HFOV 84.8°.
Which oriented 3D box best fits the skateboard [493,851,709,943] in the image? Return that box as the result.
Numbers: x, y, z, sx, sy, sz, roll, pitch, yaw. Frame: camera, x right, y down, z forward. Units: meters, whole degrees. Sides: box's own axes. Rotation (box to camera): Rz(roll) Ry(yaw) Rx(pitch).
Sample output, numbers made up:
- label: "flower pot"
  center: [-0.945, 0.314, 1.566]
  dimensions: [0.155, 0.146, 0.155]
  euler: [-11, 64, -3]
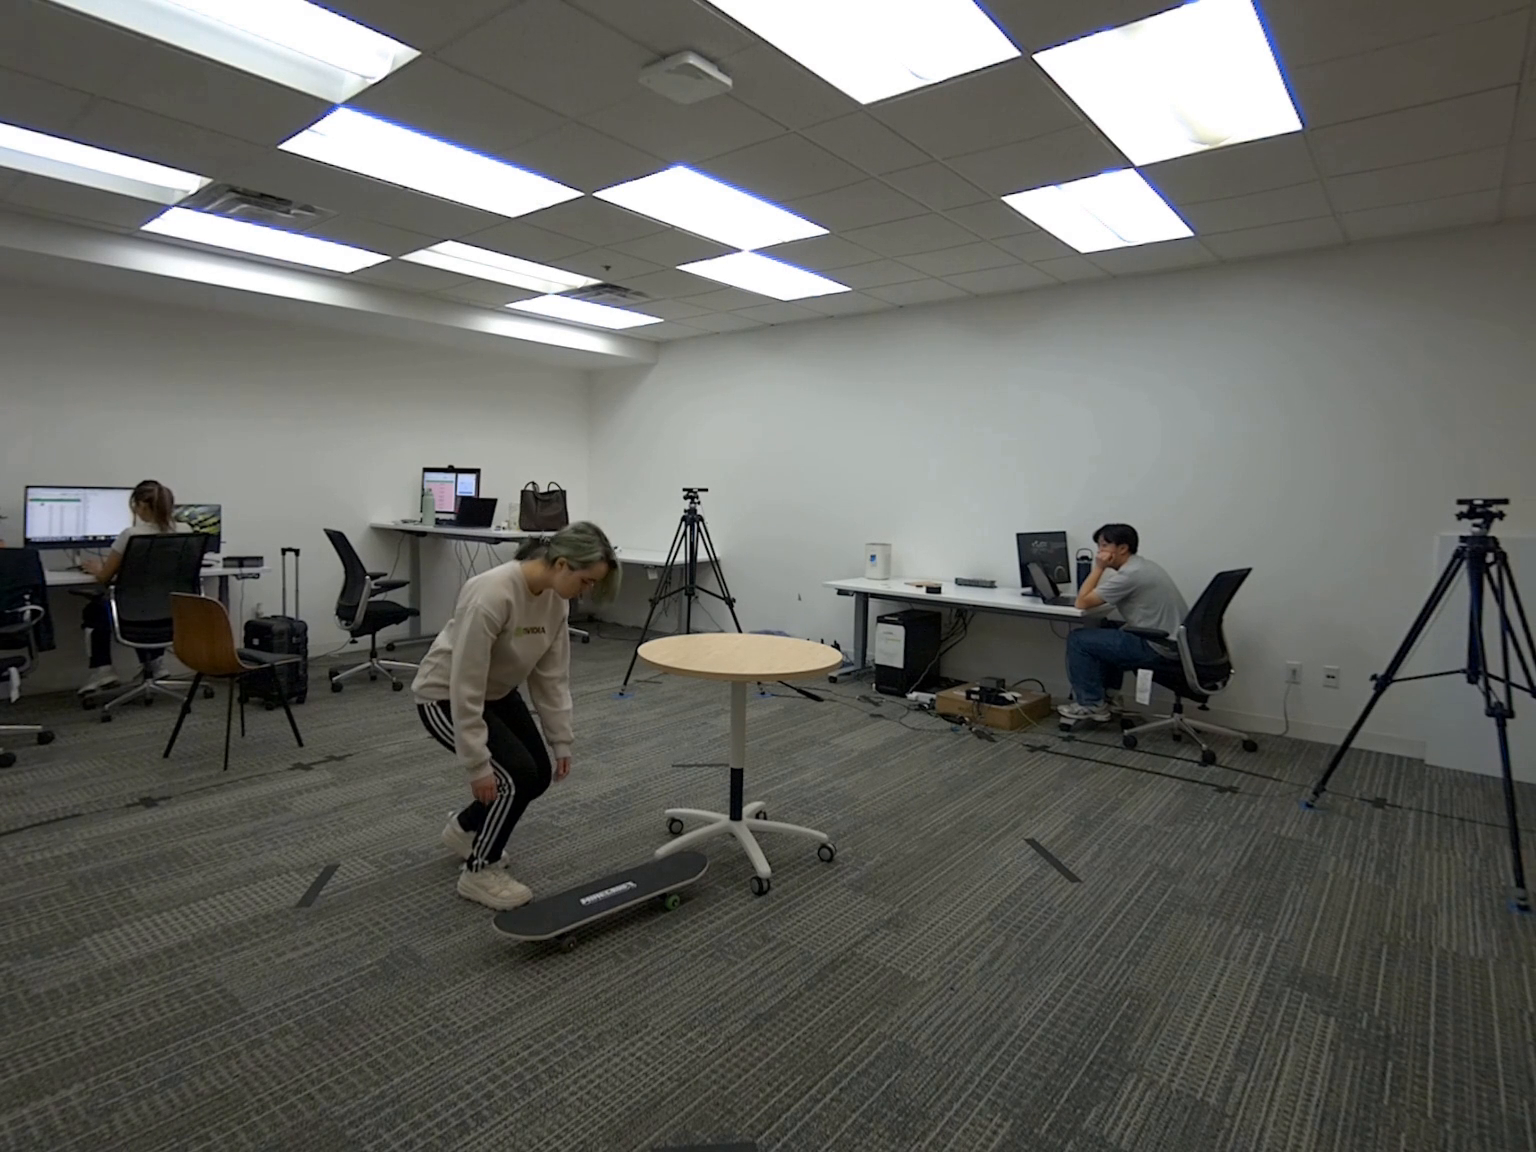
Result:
- label: "skateboard"
  center: [-0.519, 1.045, 2.734]
  dimensions: [0.762, 0.110, 0.200]
  euler: [-5, 7, -43]
